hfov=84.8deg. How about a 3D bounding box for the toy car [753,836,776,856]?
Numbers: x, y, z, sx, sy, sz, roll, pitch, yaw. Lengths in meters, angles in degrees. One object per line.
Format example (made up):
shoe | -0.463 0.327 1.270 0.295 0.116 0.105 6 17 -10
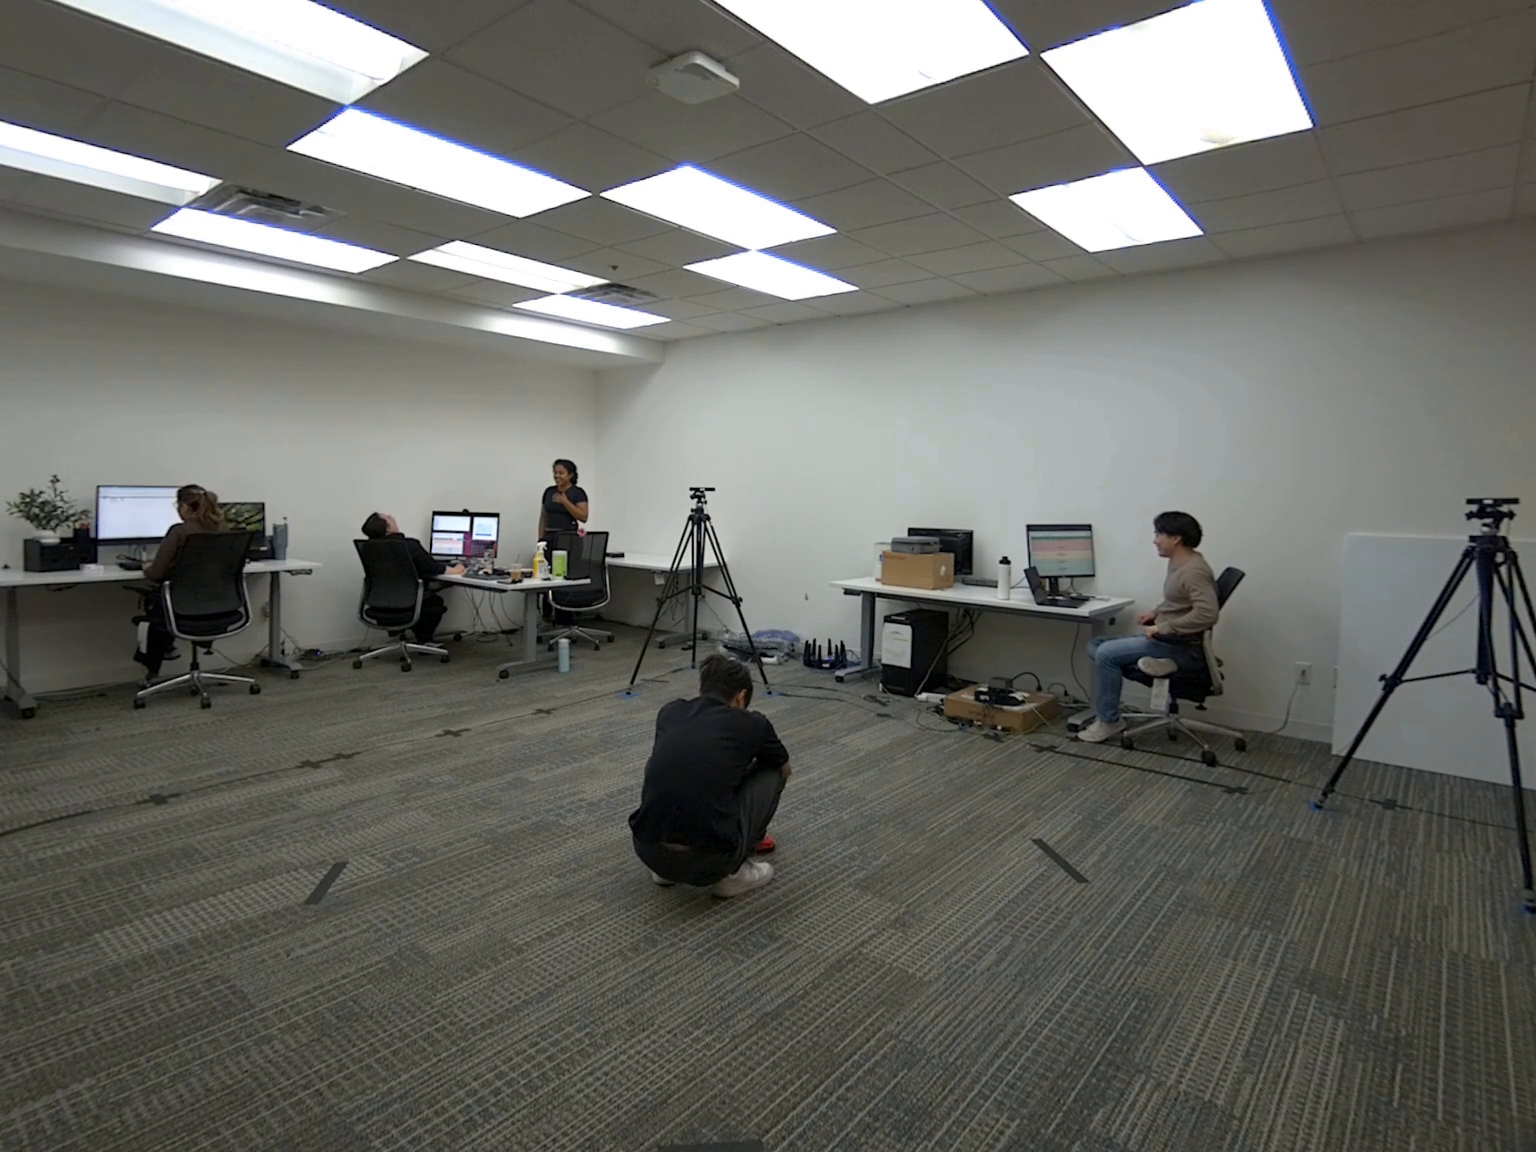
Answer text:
toy car | -0.067 1.009 3.361 0.127 0.082 0.263 0 17 -21
